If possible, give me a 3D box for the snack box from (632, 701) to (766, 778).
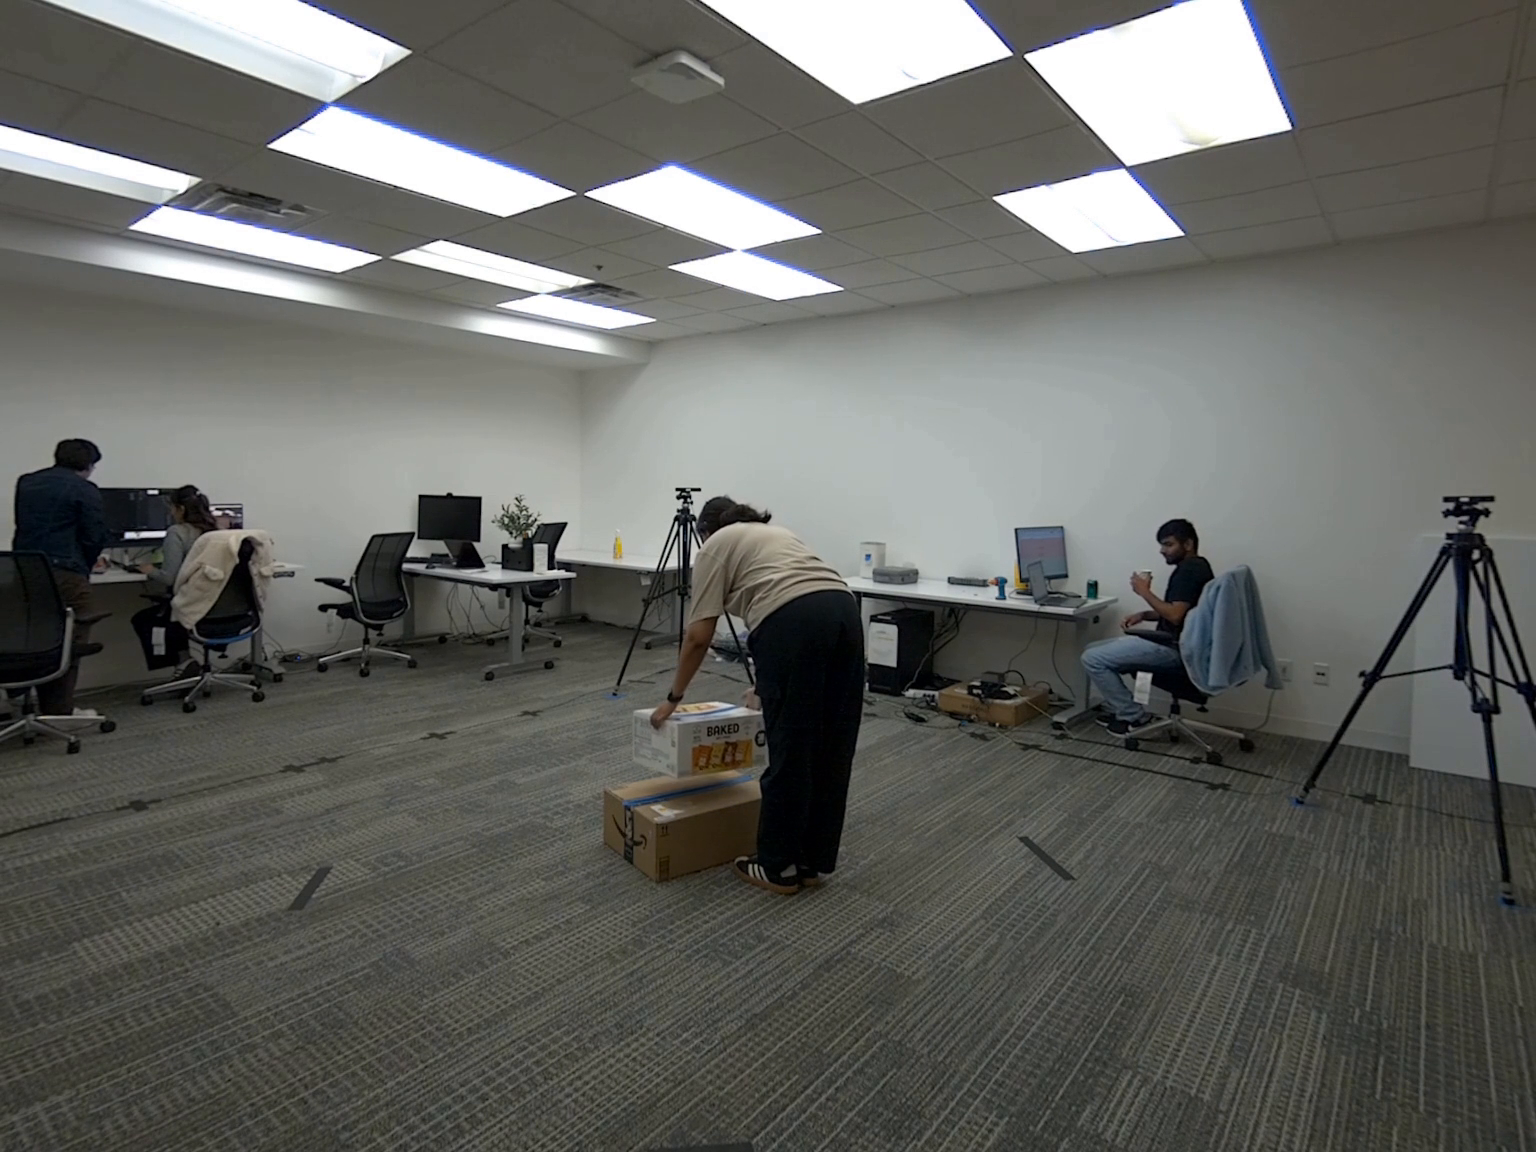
[{"bbox_3d":[-0.280,0.627,3.321,0.393,0.206,0.350,0,0,-36],"label":"snack box"}]
